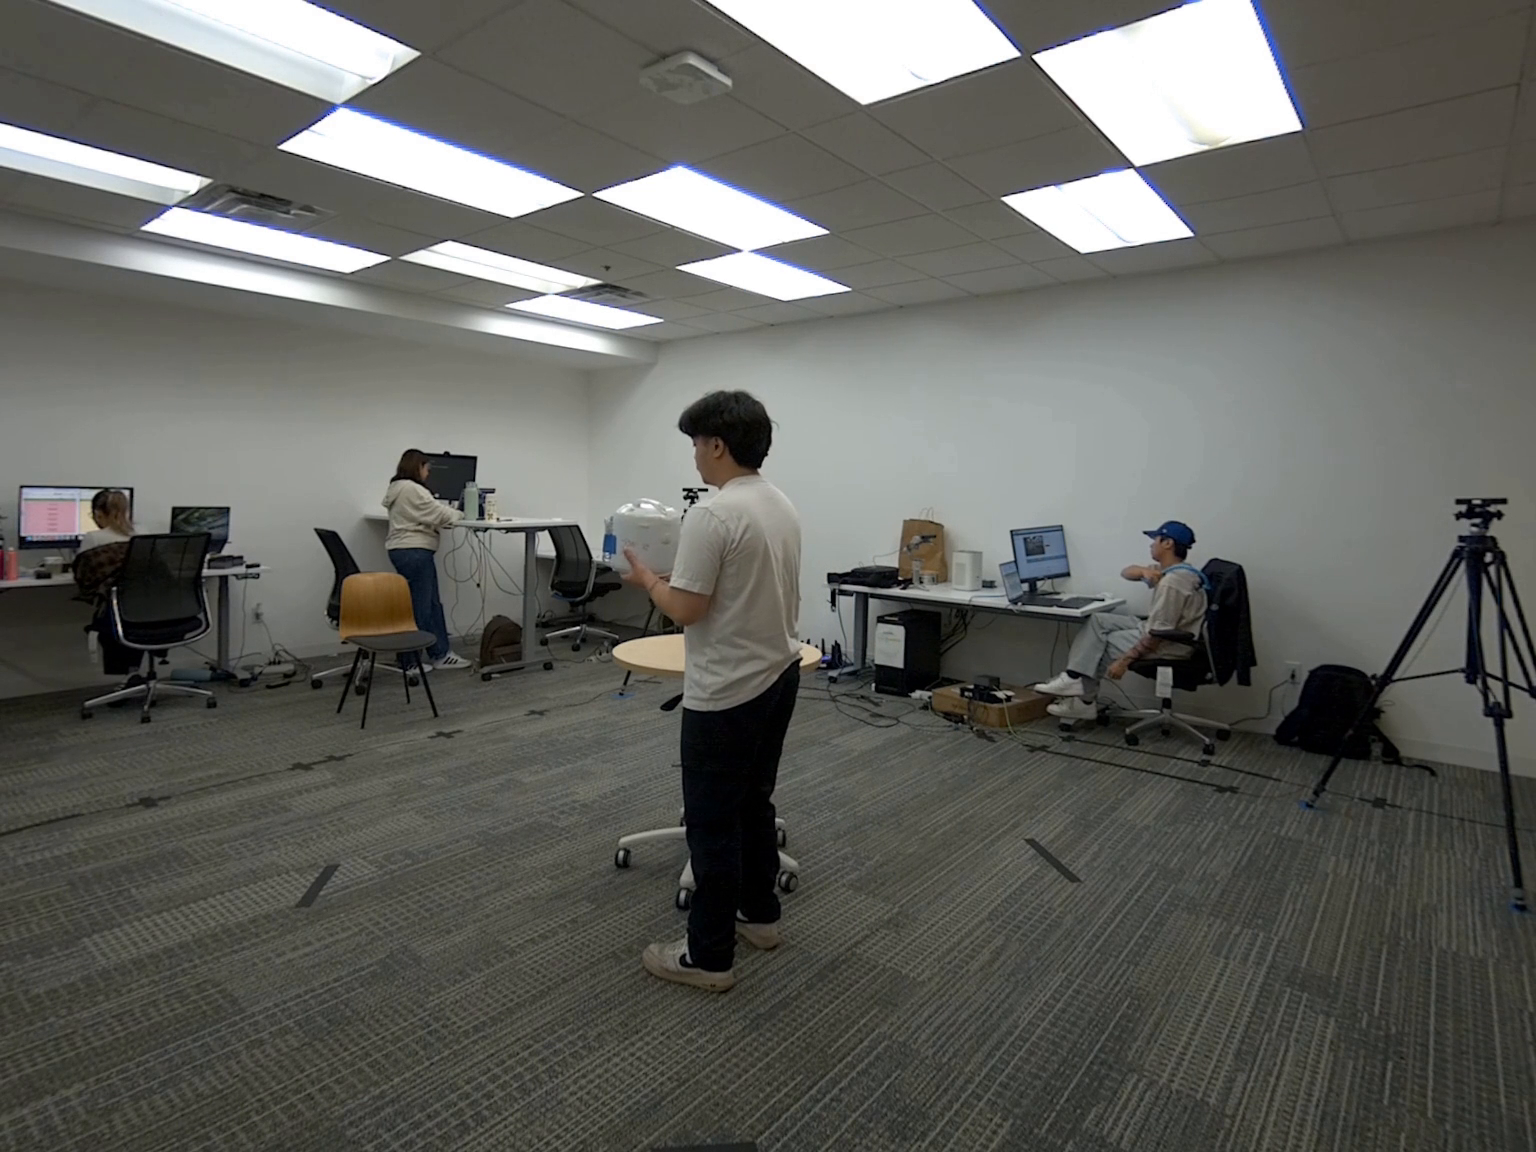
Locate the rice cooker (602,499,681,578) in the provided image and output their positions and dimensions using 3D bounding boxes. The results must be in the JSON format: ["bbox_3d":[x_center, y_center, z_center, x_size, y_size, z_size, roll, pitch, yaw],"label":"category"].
[{"bbox_3d":[-0.381,-0.126,2.641,0.211,0.231,0.229,-4,12,-41],"label":"rice cooker"}]
